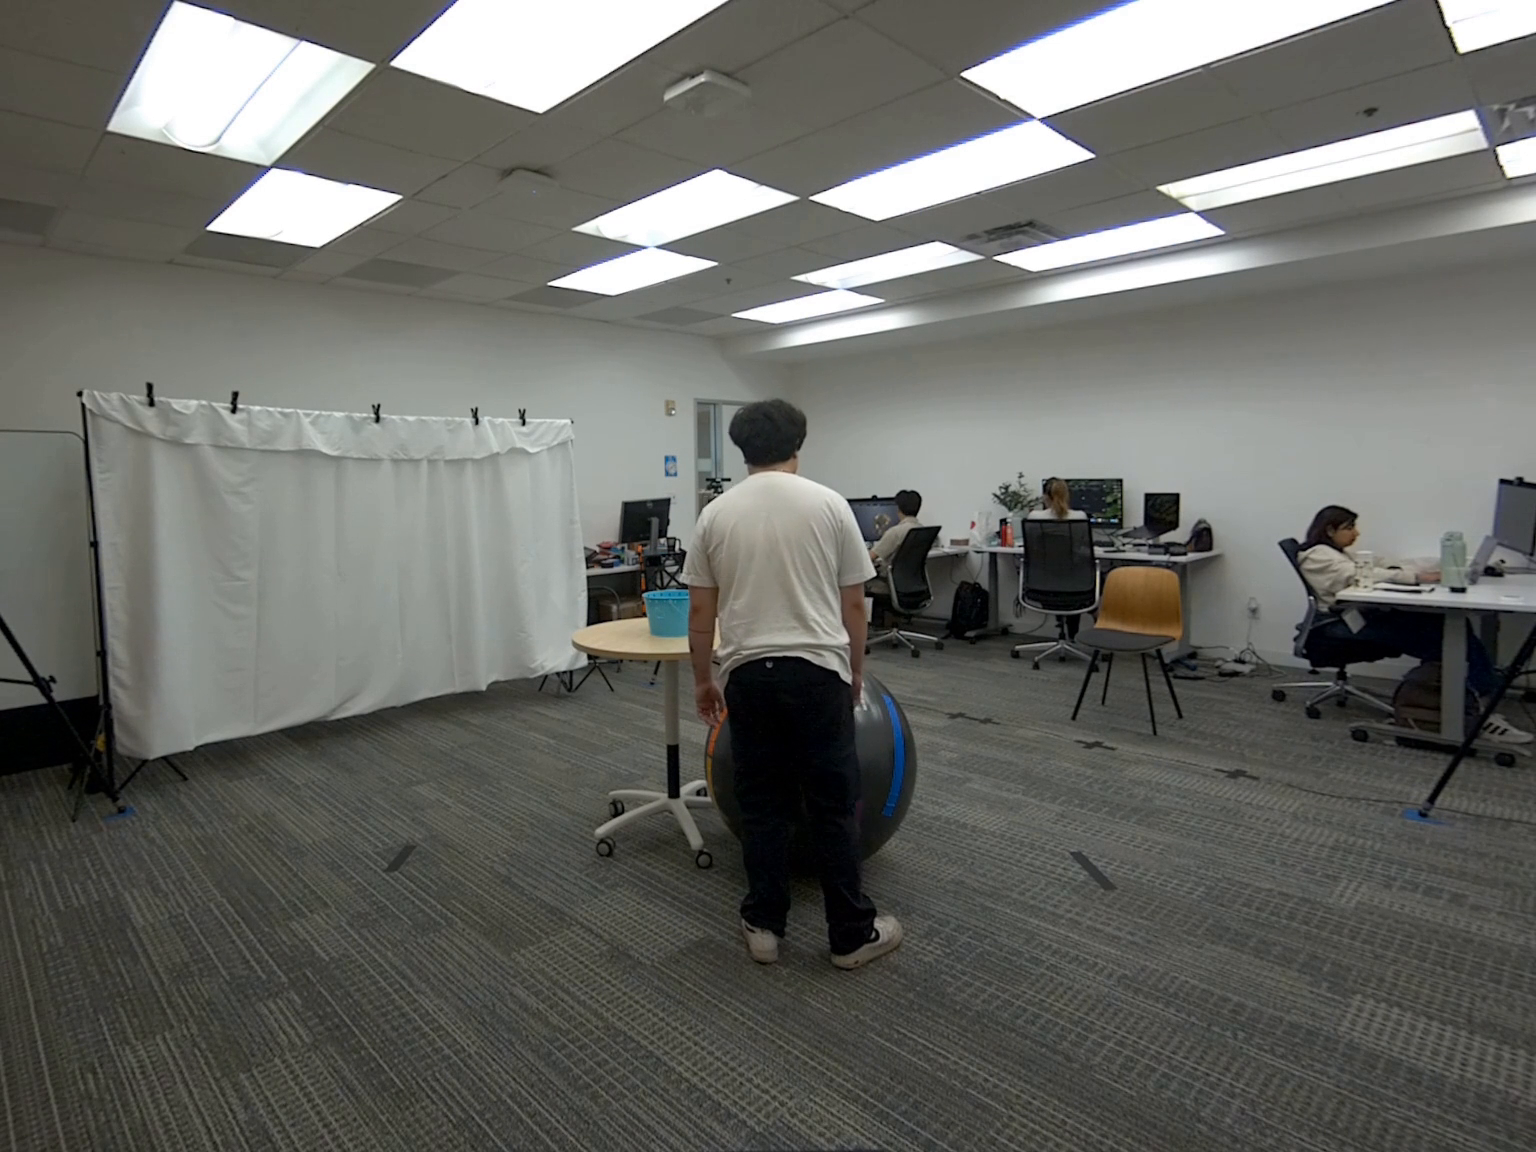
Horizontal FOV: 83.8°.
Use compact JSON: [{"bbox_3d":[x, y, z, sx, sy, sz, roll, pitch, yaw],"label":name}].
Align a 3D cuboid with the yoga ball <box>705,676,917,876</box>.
[{"bbox_3d":[0.156,0.668,3.092,0.757,0.755,0.762,-1,5,-2],"label":"yoga ball"}]
